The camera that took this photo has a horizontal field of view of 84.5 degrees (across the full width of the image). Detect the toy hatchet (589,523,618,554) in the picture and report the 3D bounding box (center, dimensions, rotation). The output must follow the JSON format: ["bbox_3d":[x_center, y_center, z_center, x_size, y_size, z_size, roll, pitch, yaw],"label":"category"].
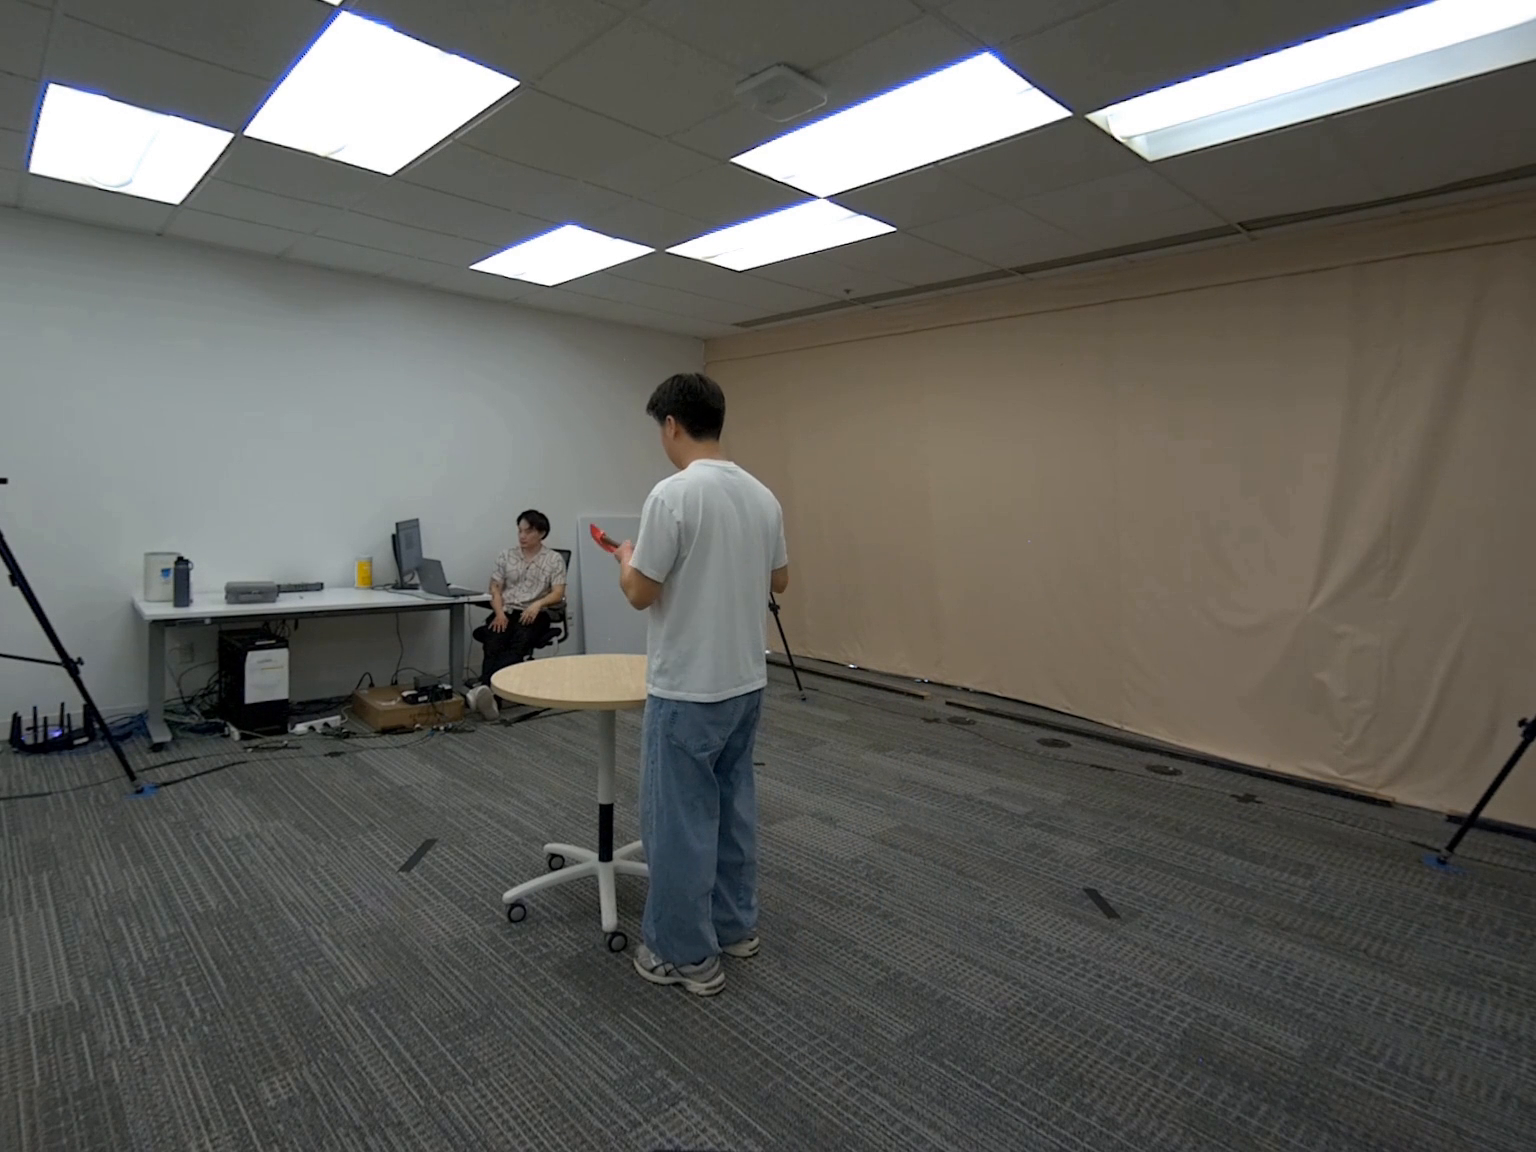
[{"bbox_3d":[-0.452,-0.052,2.627,0.274,0.029,0.129,38,-28,15],"label":"toy hatchet"}]
